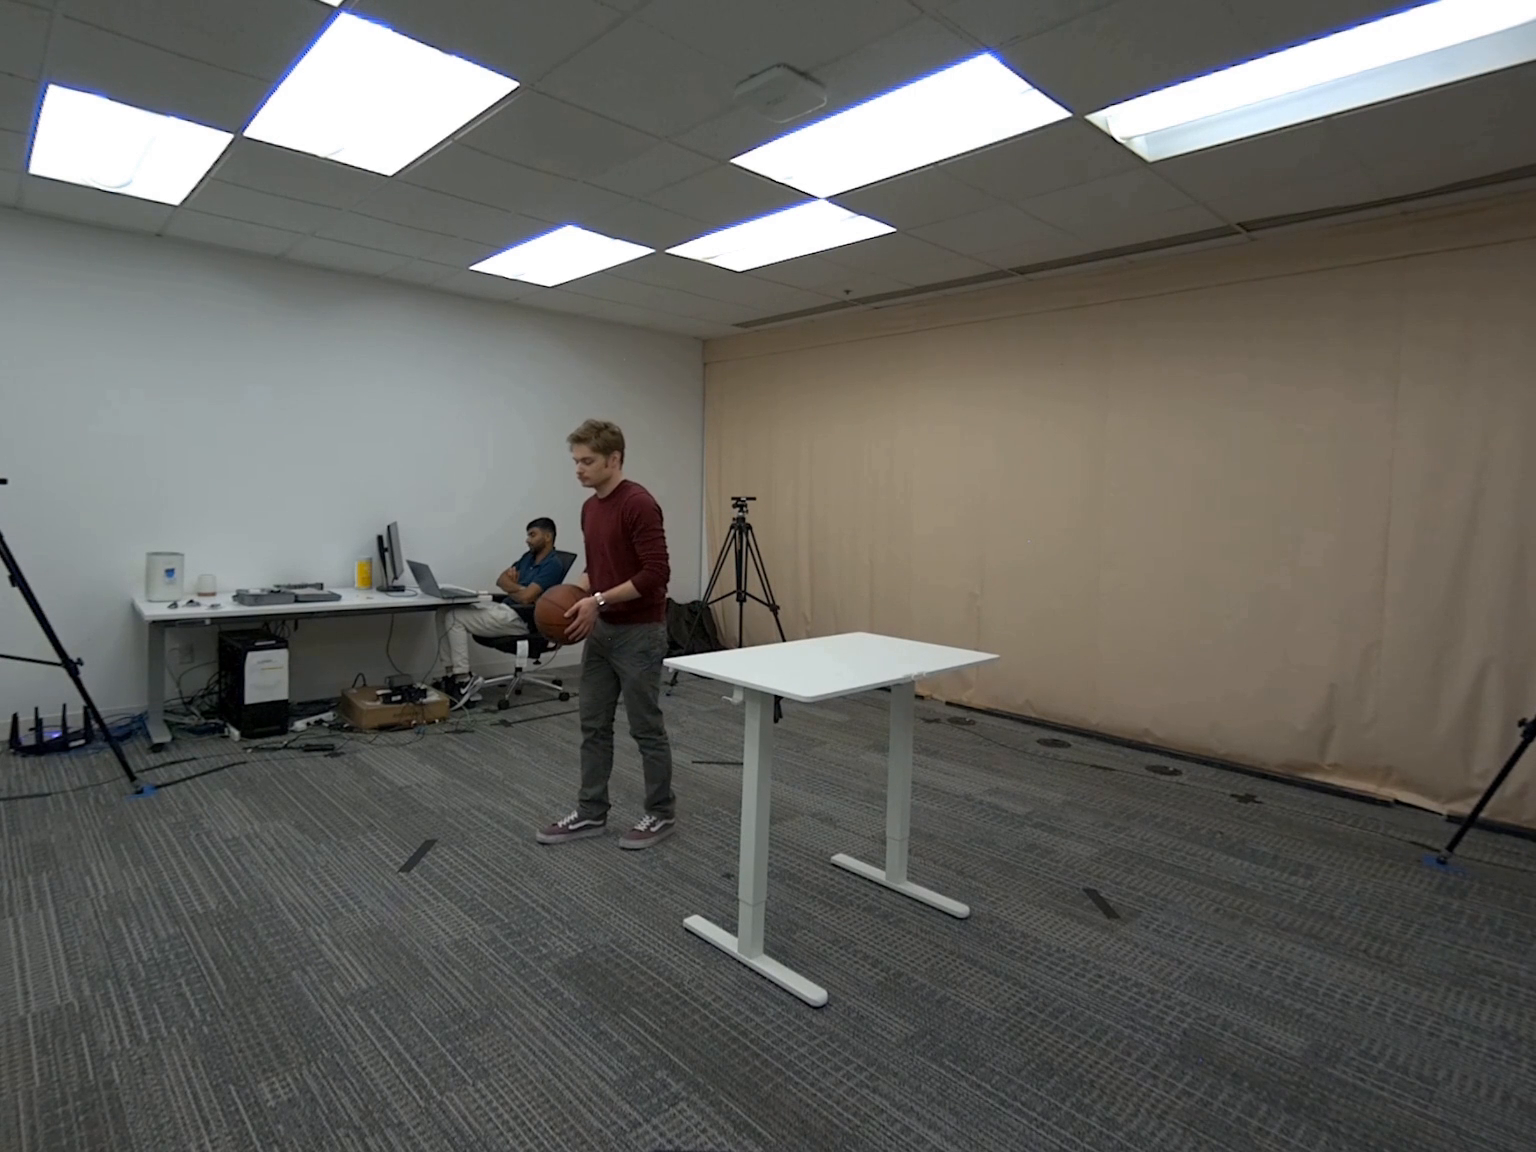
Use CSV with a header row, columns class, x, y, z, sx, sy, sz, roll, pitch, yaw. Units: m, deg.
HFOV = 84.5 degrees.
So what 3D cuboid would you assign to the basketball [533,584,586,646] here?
class,x,y,z,sx,sy,sz,roll,pitch,yaw
basketball,-0.800,0.144,3.274,0.236,0.235,0.237,1,4,-1
